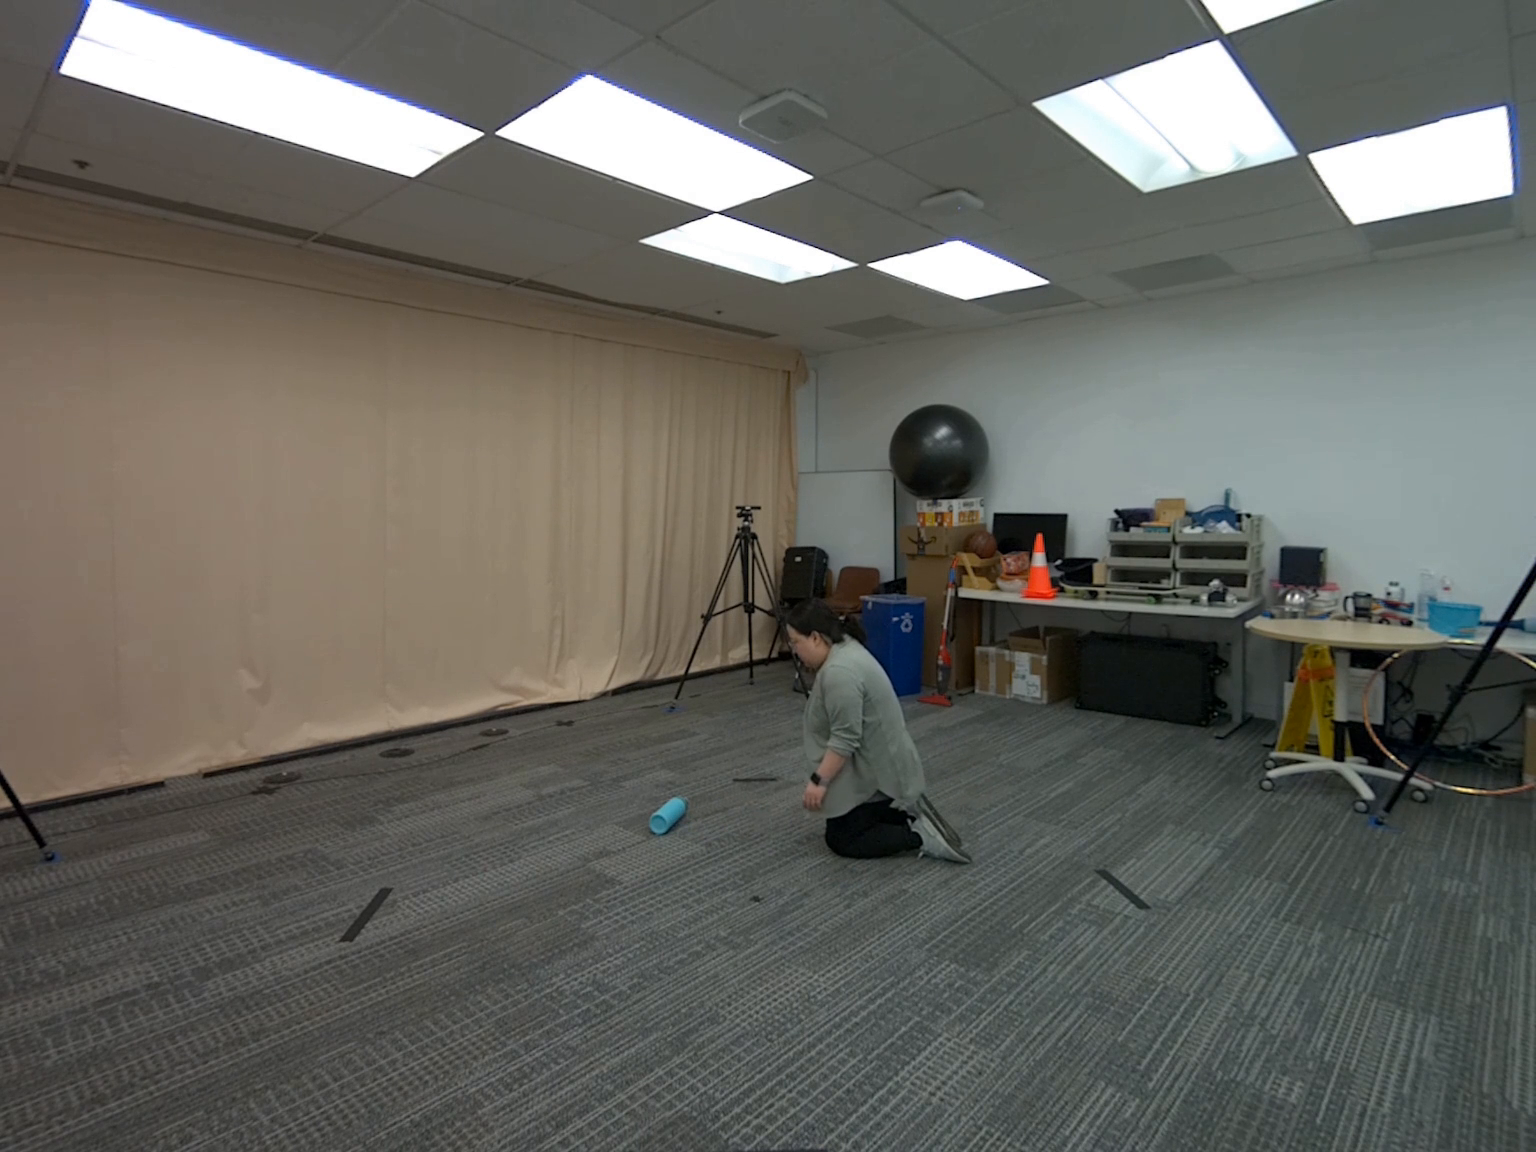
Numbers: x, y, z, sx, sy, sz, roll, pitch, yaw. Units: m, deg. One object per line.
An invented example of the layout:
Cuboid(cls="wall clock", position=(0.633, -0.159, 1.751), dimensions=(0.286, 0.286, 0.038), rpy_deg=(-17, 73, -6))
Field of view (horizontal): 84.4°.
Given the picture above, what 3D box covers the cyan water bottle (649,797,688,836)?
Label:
Cuboid(cls="cyan water bottle", position=(-0.430, 1.044, 3.713), dimensions=(0.094, 0.092, 0.279), rpy_deg=(1, 5, 14))
